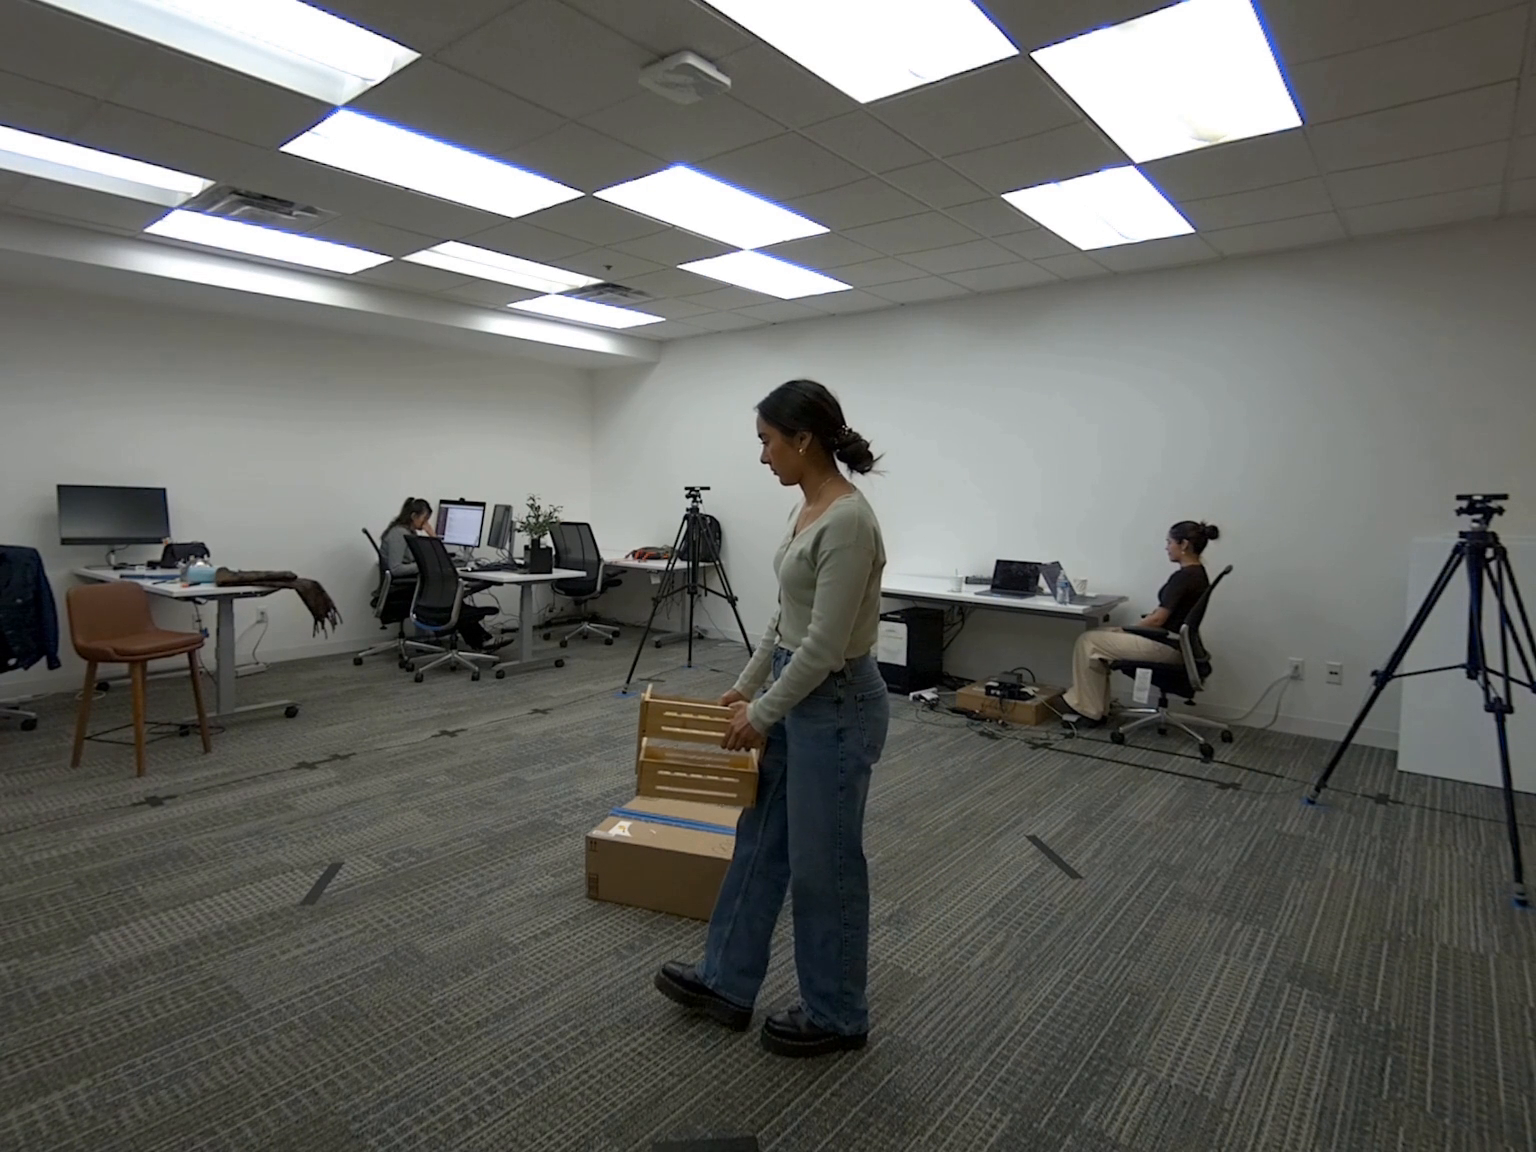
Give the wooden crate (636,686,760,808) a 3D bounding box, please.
[{"bbox_3d":[-0.186,0.415,2.223,0.323,0.272,0.304,6,5,-3],"label":"wooden crate"}]
